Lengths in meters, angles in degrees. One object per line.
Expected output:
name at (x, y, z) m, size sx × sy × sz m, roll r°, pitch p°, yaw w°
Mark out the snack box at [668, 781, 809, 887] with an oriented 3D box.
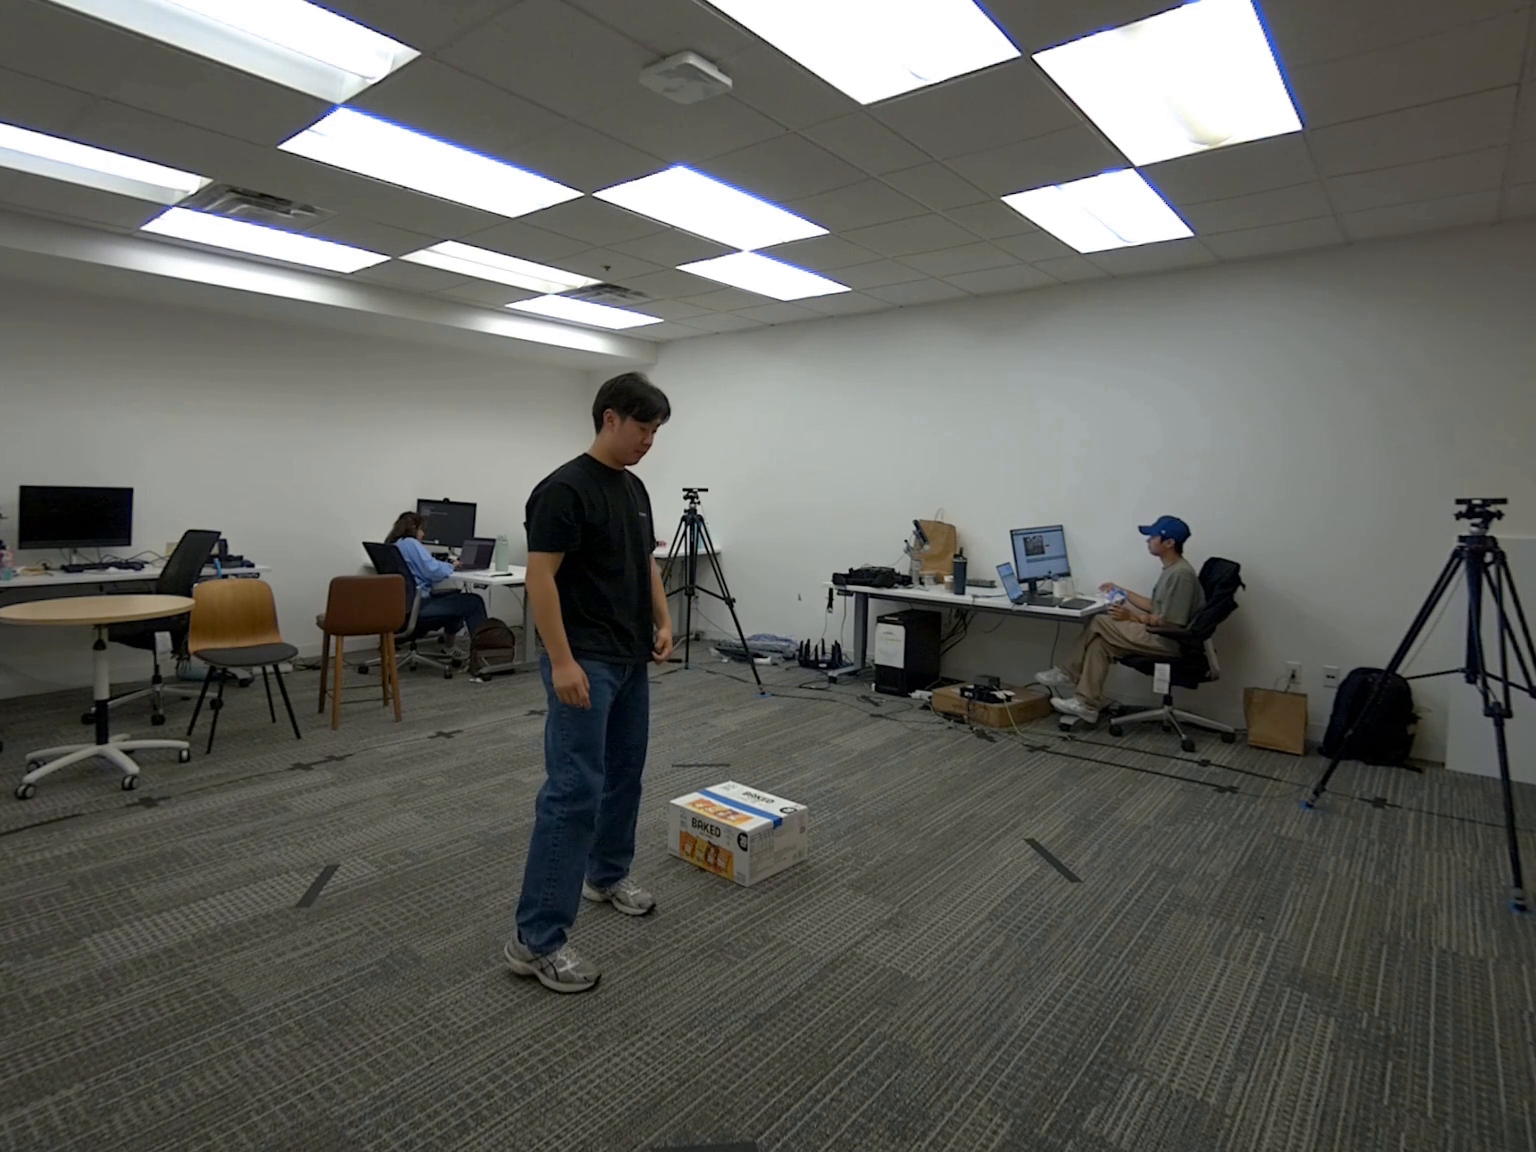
snack box at (-0.124, 0.960, 3.213) m, size 0.419 × 0.205 × 0.330 m, roll 5°, pitch 7°, yaw 42°
